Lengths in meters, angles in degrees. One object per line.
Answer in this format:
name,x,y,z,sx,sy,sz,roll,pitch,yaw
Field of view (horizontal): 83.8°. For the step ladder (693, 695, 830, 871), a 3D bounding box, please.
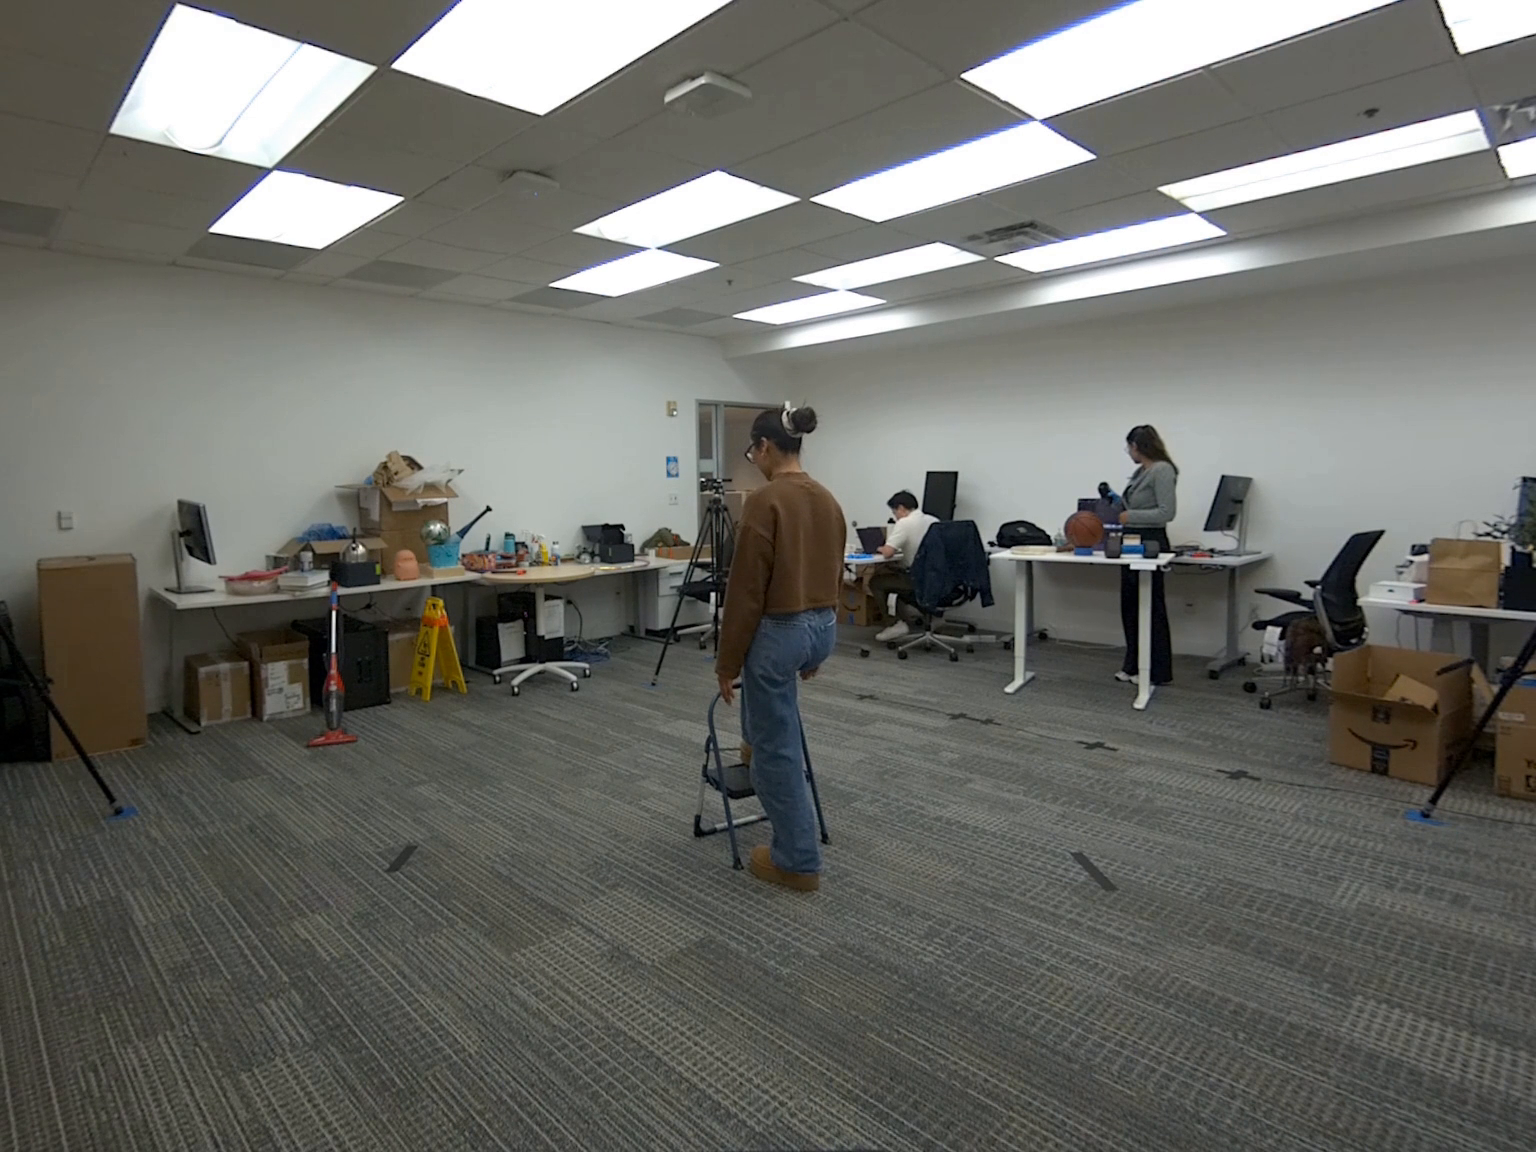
step ladder,-0.030,0.721,3.291,0.420,0.604,0.359,-4,5,-33
